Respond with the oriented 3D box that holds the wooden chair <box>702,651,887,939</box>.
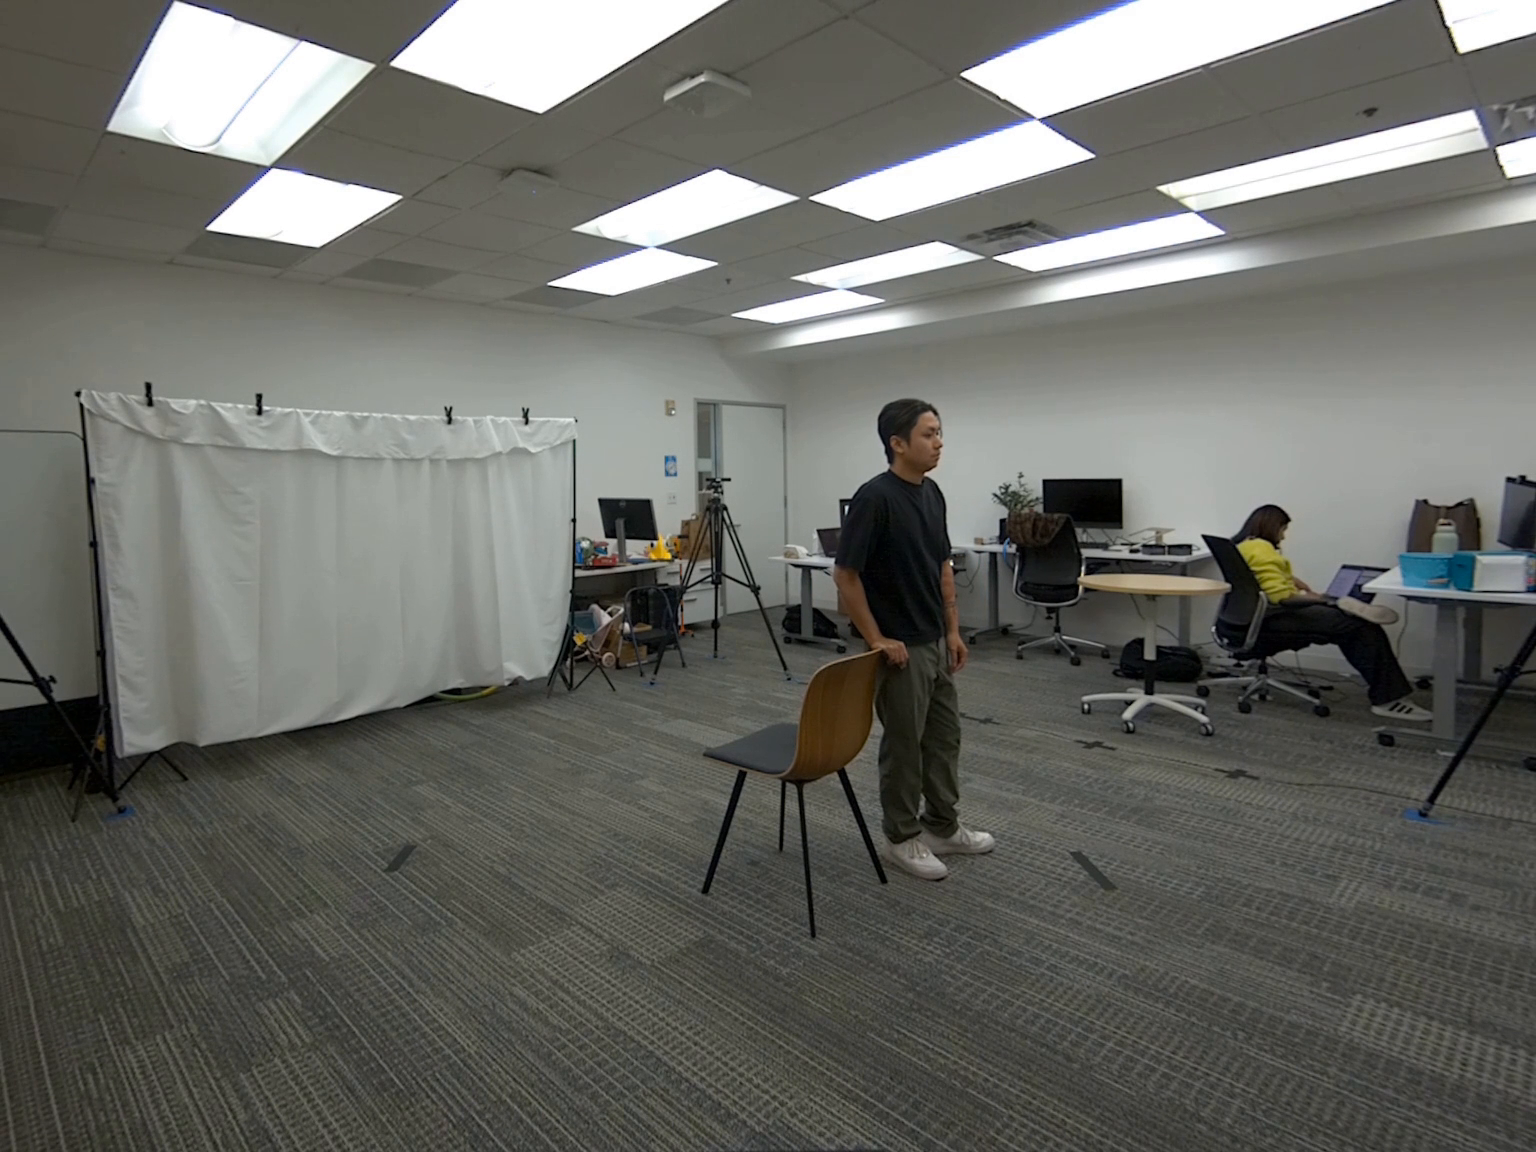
[{"bbox_3d":[0.079,0.641,2.874,0.540,0.872,0.466,8,9,38],"label":"wooden chair"}]
